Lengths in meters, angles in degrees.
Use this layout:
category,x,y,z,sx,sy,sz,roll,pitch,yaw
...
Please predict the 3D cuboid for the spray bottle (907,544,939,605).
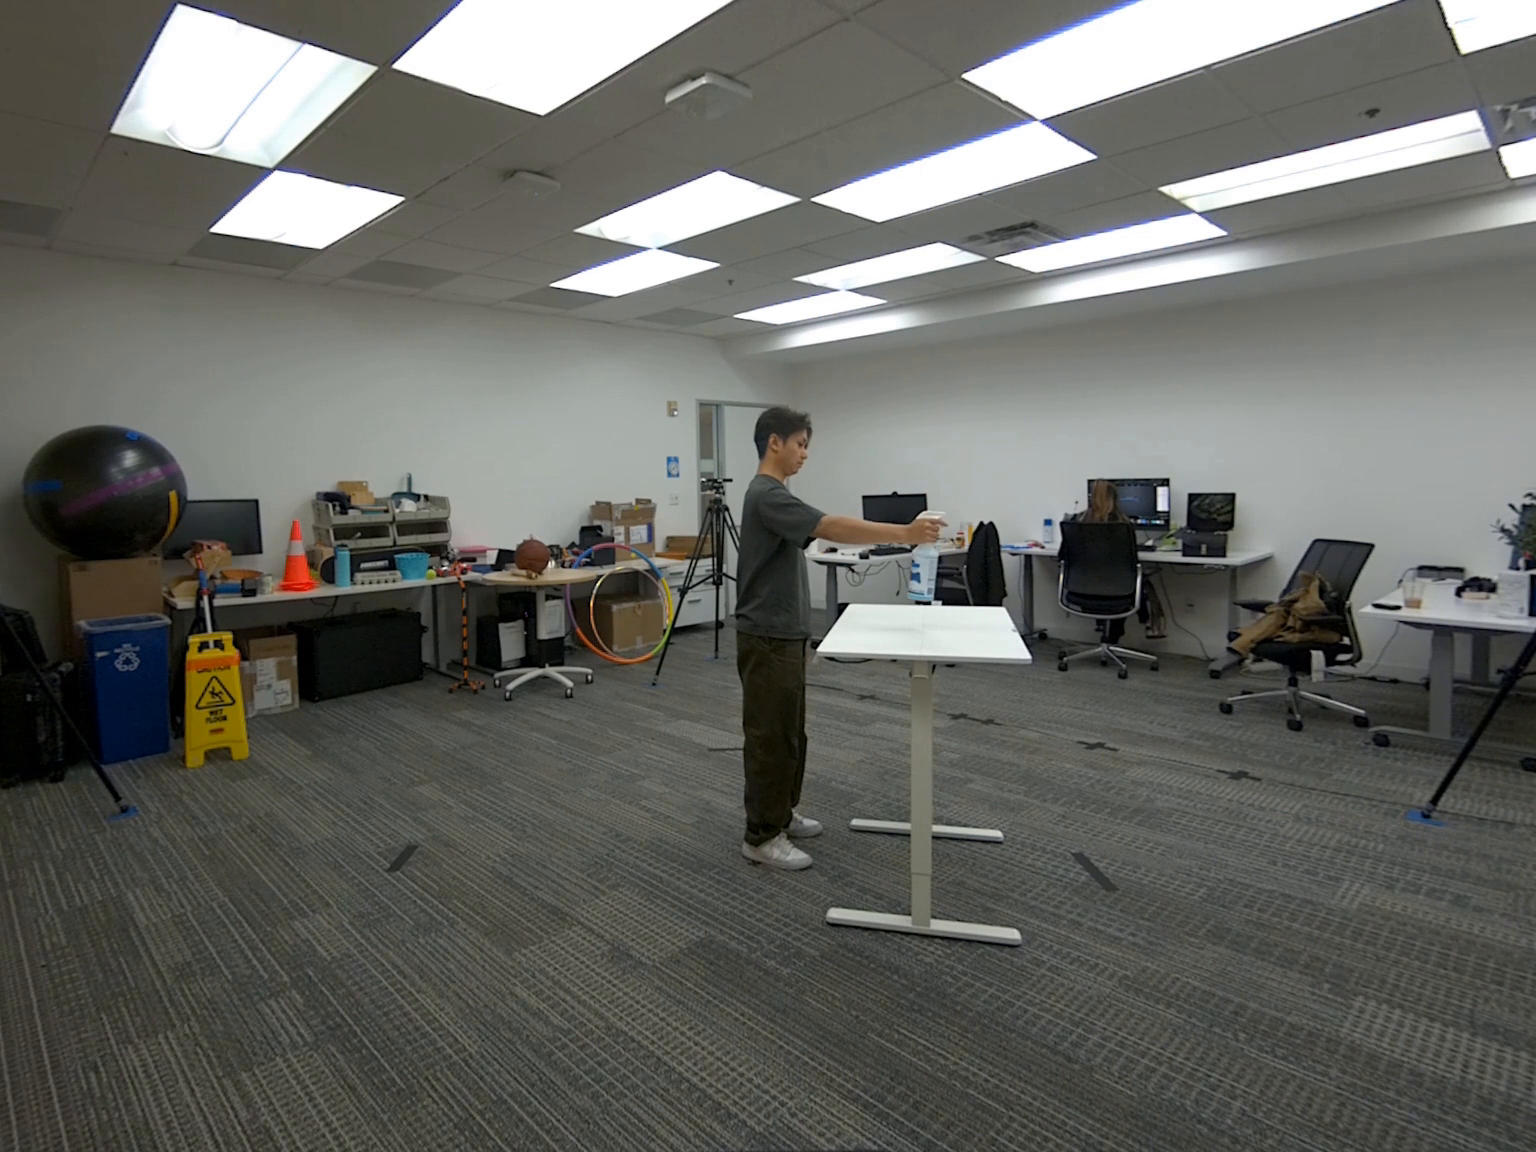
category,x,y,z,sx,sy,sz,roll,pitch,yaw
spray bottle,0.528,-0.068,2.839,0.092,0.296,0.085,9,6,29
